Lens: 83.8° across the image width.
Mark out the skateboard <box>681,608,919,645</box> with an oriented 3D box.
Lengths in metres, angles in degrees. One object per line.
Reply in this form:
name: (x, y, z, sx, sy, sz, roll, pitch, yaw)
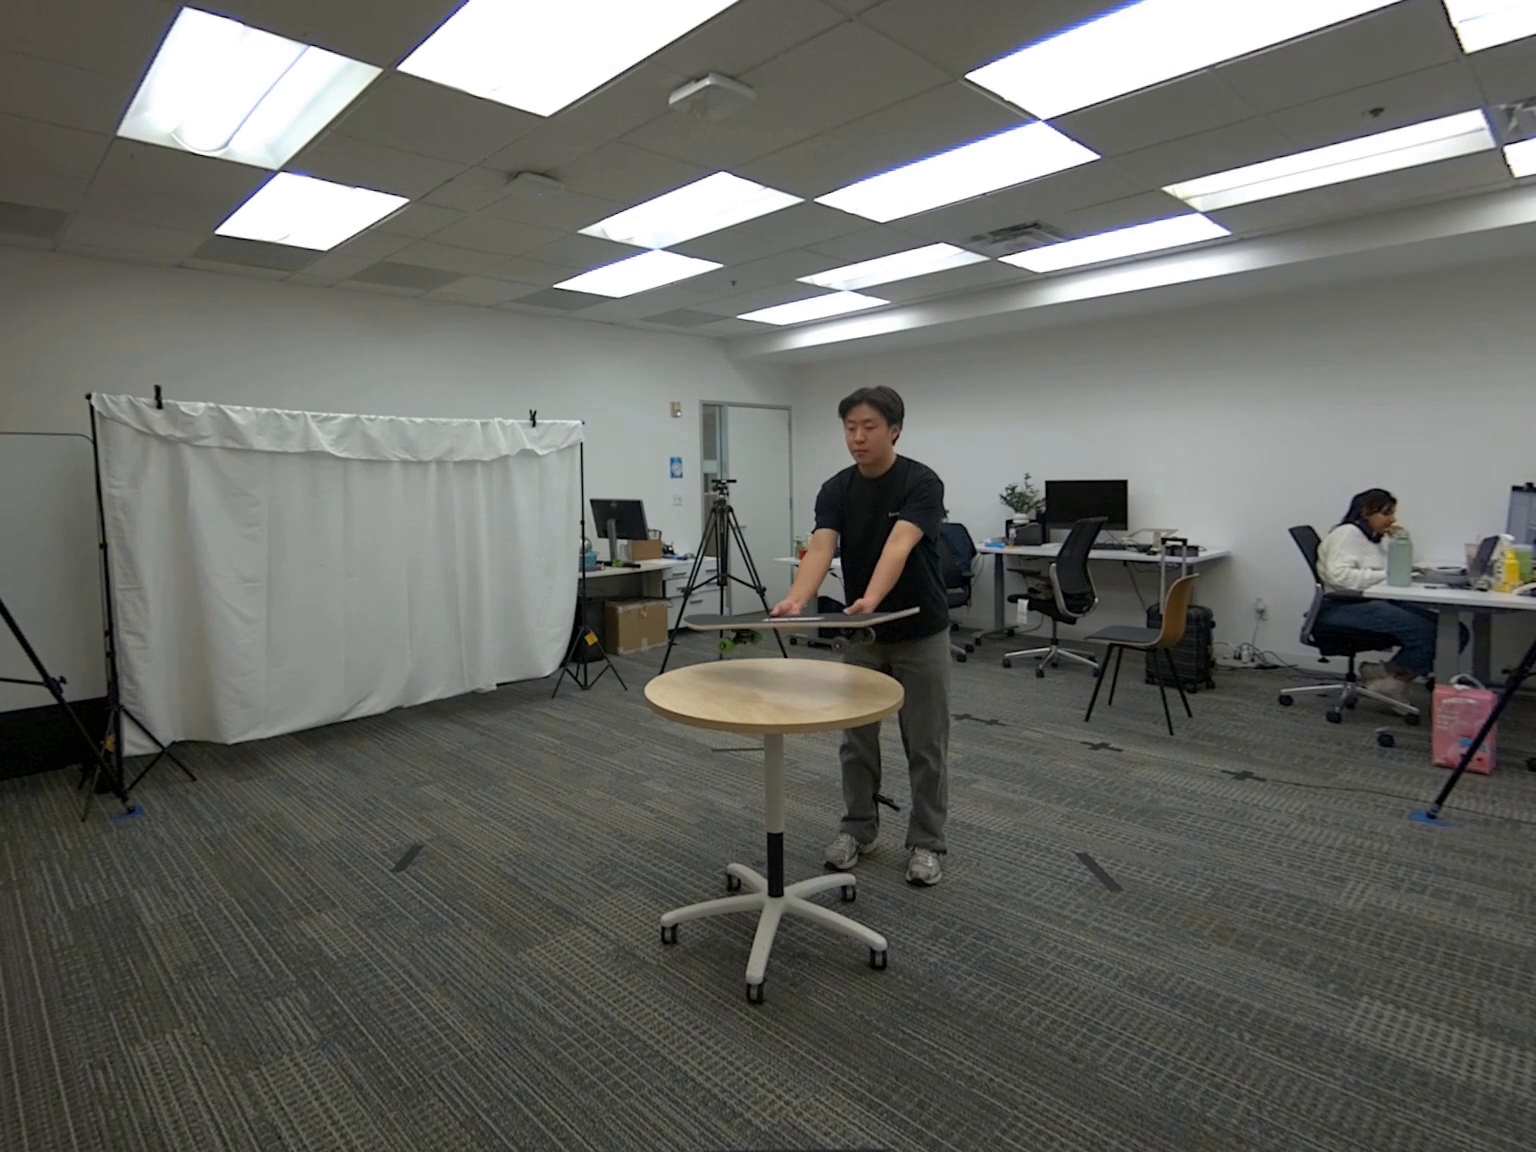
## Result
skateboard: (0.076, 0.167, 2.521, 0.805, 0.110, 0.189, -4, 5, 34)
